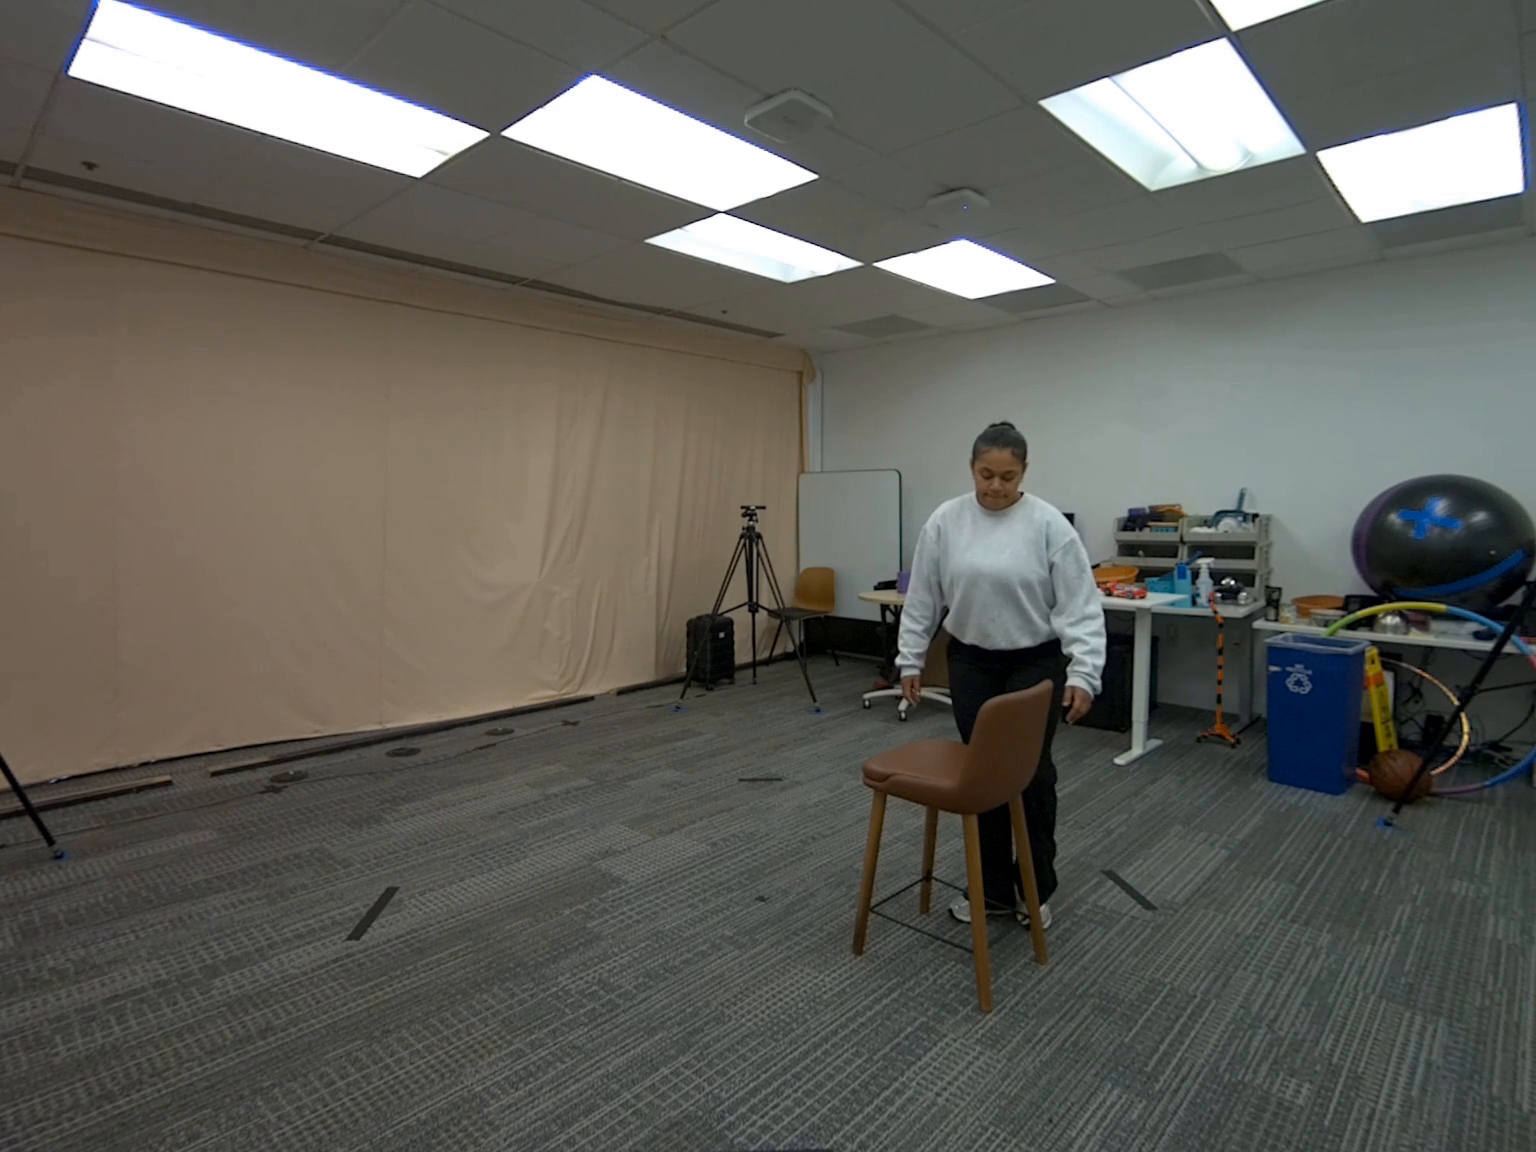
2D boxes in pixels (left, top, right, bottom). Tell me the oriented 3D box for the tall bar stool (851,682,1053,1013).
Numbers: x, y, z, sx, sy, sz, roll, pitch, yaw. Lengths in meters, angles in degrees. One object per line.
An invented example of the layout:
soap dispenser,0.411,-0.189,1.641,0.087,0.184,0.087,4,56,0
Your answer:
tall bar stool,0.568,0.742,2.560,0.484,0.887,0.443,6,8,44
